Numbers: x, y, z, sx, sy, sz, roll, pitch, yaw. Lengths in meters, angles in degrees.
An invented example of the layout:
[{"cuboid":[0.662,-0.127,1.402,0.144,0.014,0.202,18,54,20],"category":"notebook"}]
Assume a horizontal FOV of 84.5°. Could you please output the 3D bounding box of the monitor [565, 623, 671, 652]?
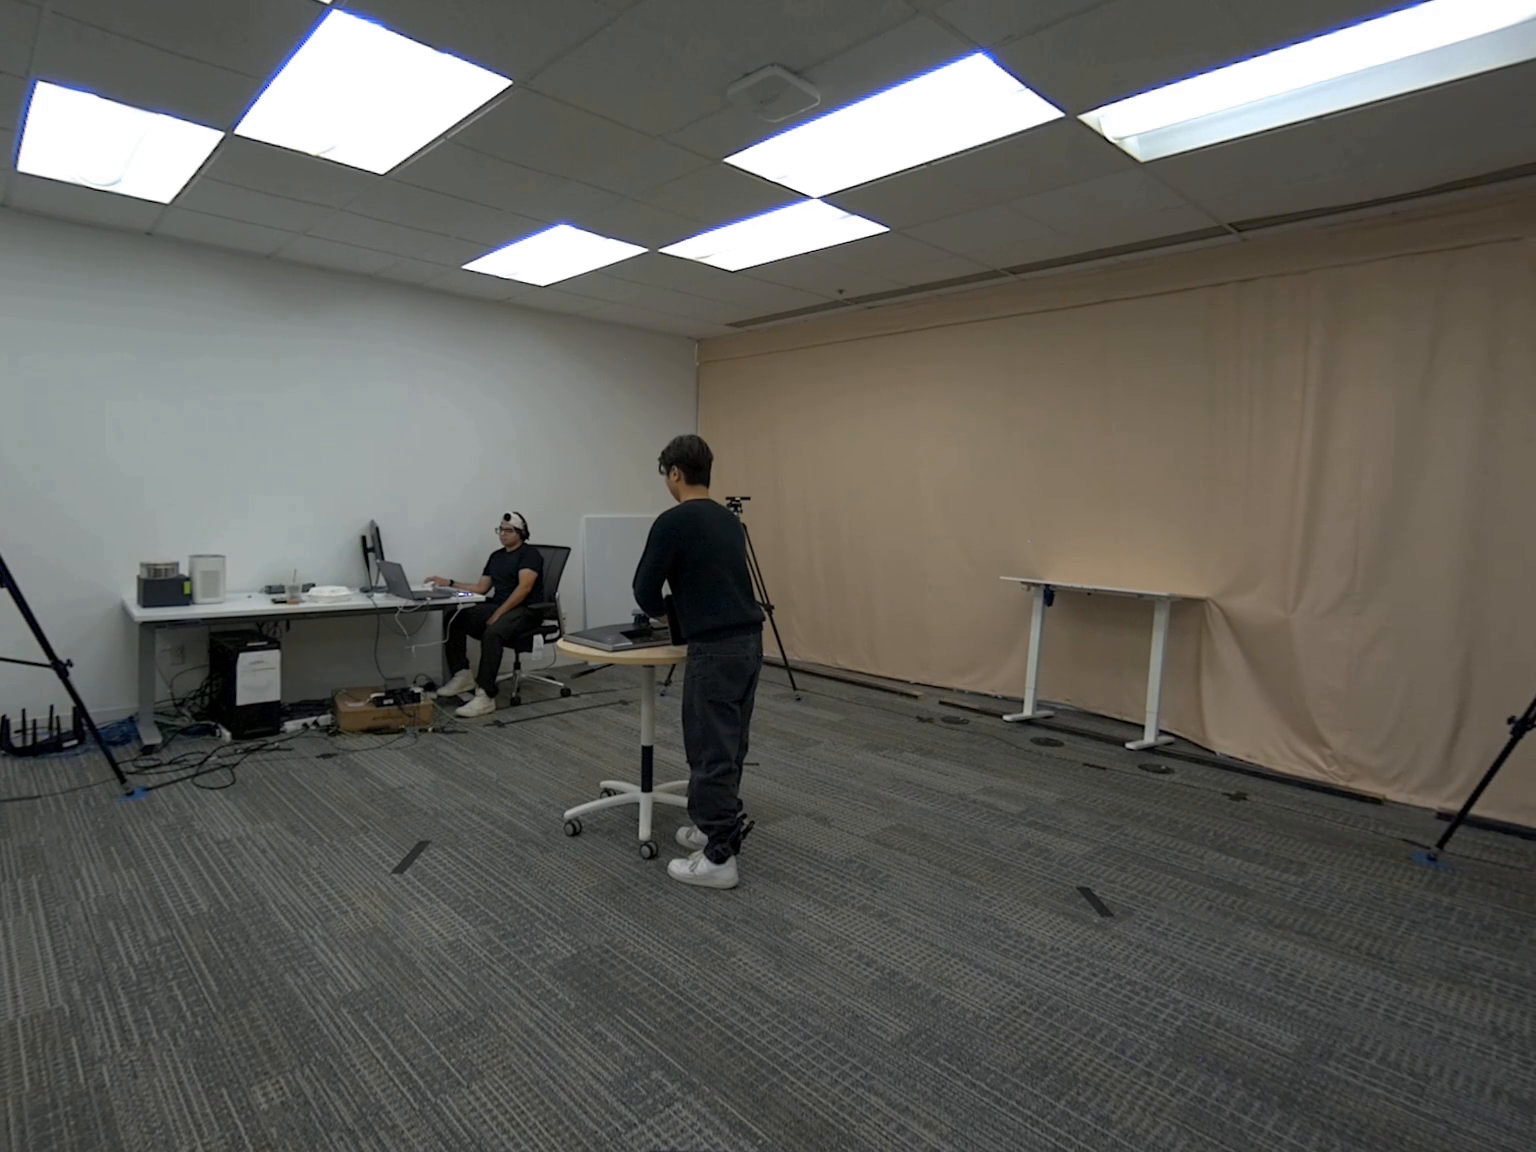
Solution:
[{"cuboid":[-0.489,0.207,3.527,0.526,0.188,0.531,0,-9,-43],"category":"monitor"}]
